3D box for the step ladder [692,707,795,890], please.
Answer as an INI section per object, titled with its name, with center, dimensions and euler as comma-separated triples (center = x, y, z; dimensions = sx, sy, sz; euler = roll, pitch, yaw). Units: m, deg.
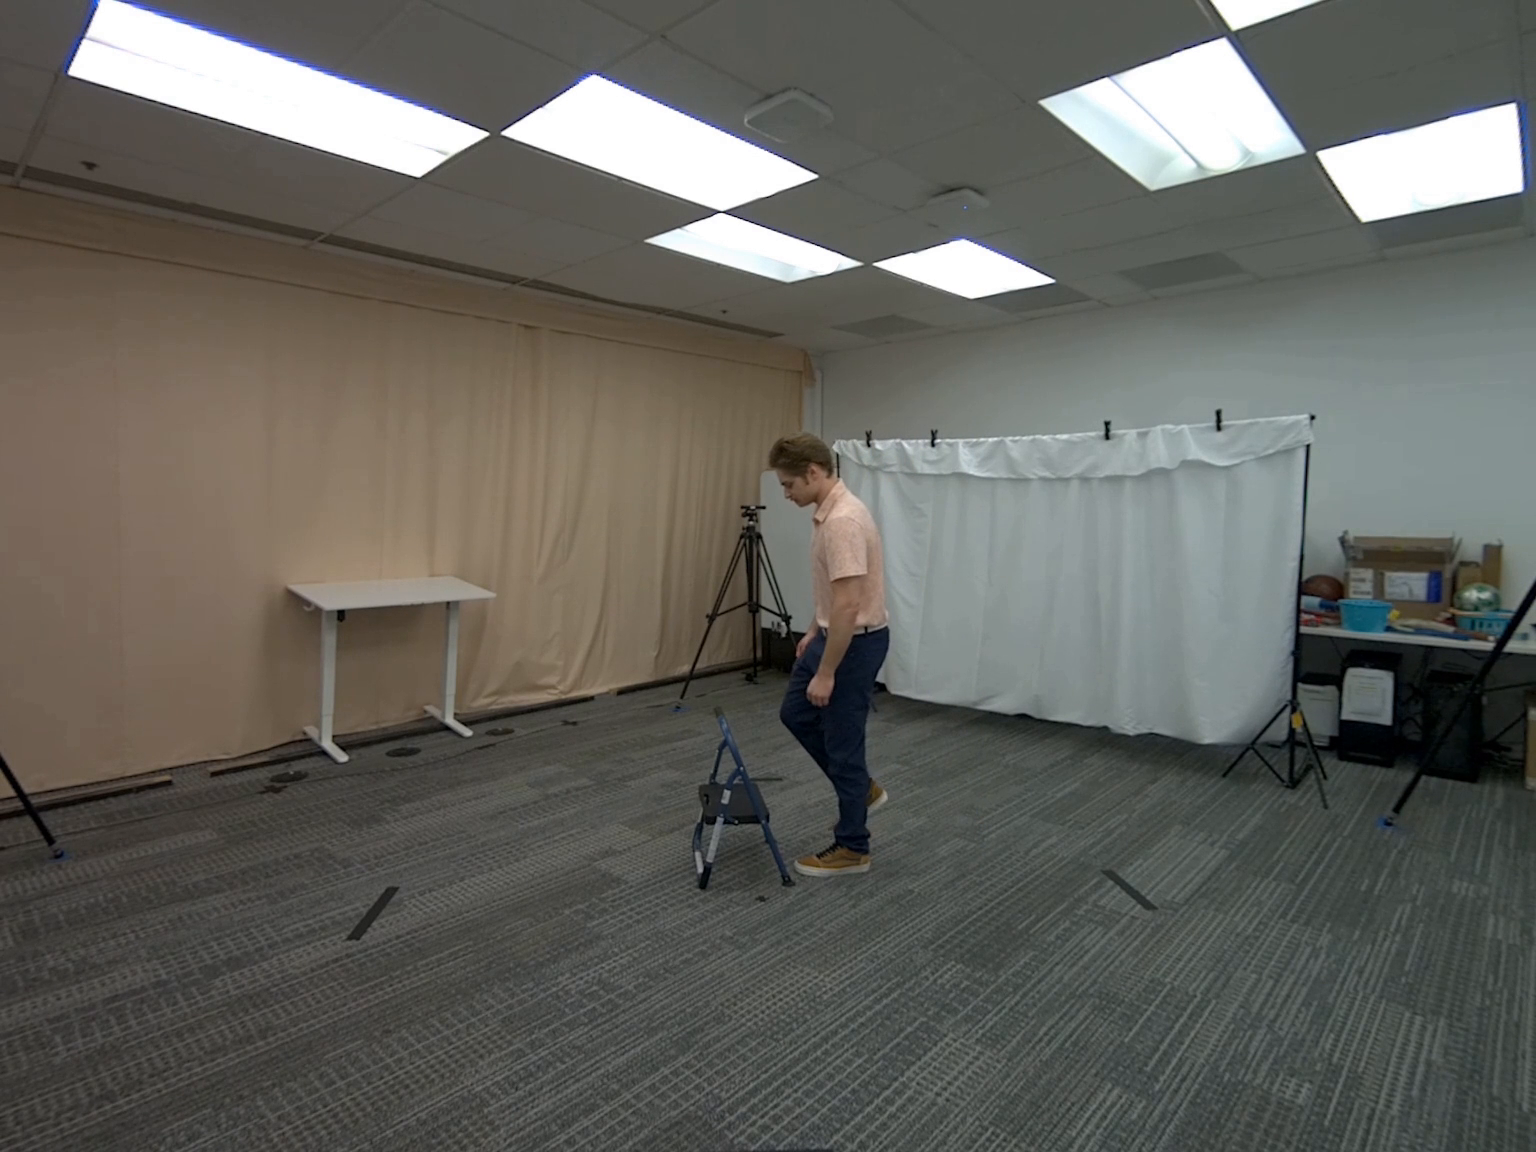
[step ladder]
center = -0.110, 0.821, 3.262
dimensions = 0.346, 0.605, 0.435
euler = -1, 3, -9
